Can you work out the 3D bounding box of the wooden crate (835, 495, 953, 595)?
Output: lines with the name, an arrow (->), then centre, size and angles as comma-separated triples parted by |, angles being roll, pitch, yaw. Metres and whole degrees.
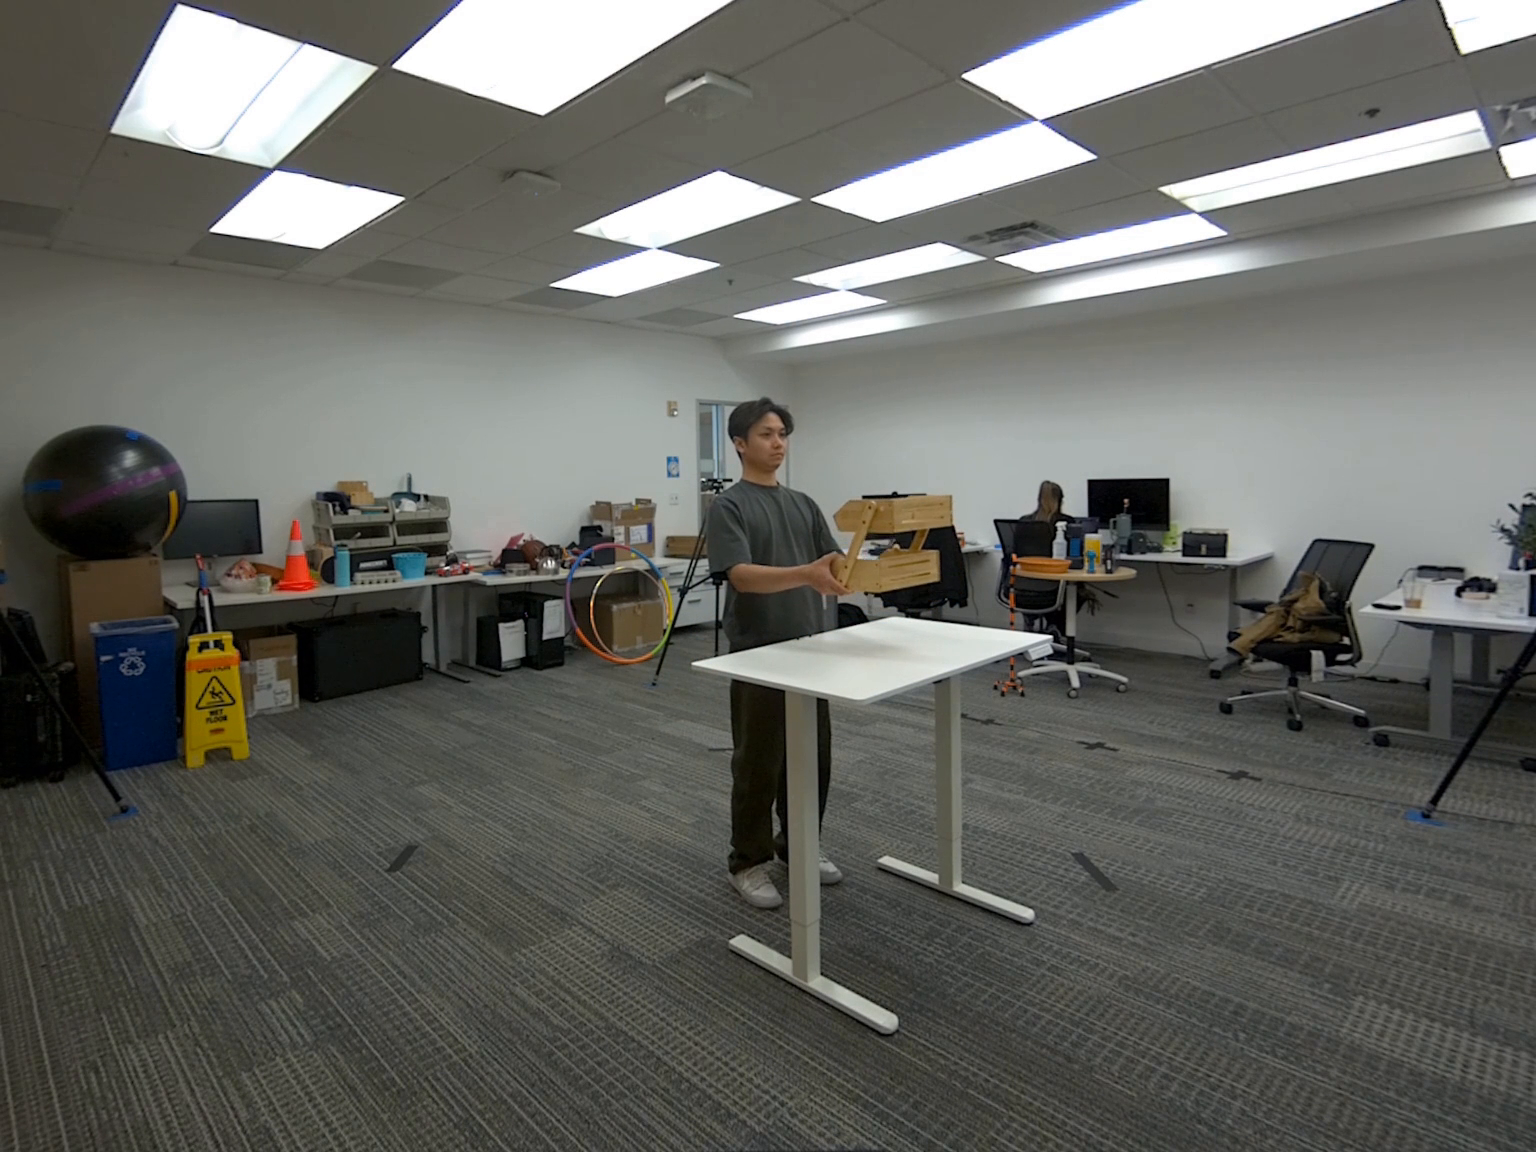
wooden crate -> 0.335, -0.108, 2.544 | 0.316, 0.272, 0.311 | -7, 7, -44
